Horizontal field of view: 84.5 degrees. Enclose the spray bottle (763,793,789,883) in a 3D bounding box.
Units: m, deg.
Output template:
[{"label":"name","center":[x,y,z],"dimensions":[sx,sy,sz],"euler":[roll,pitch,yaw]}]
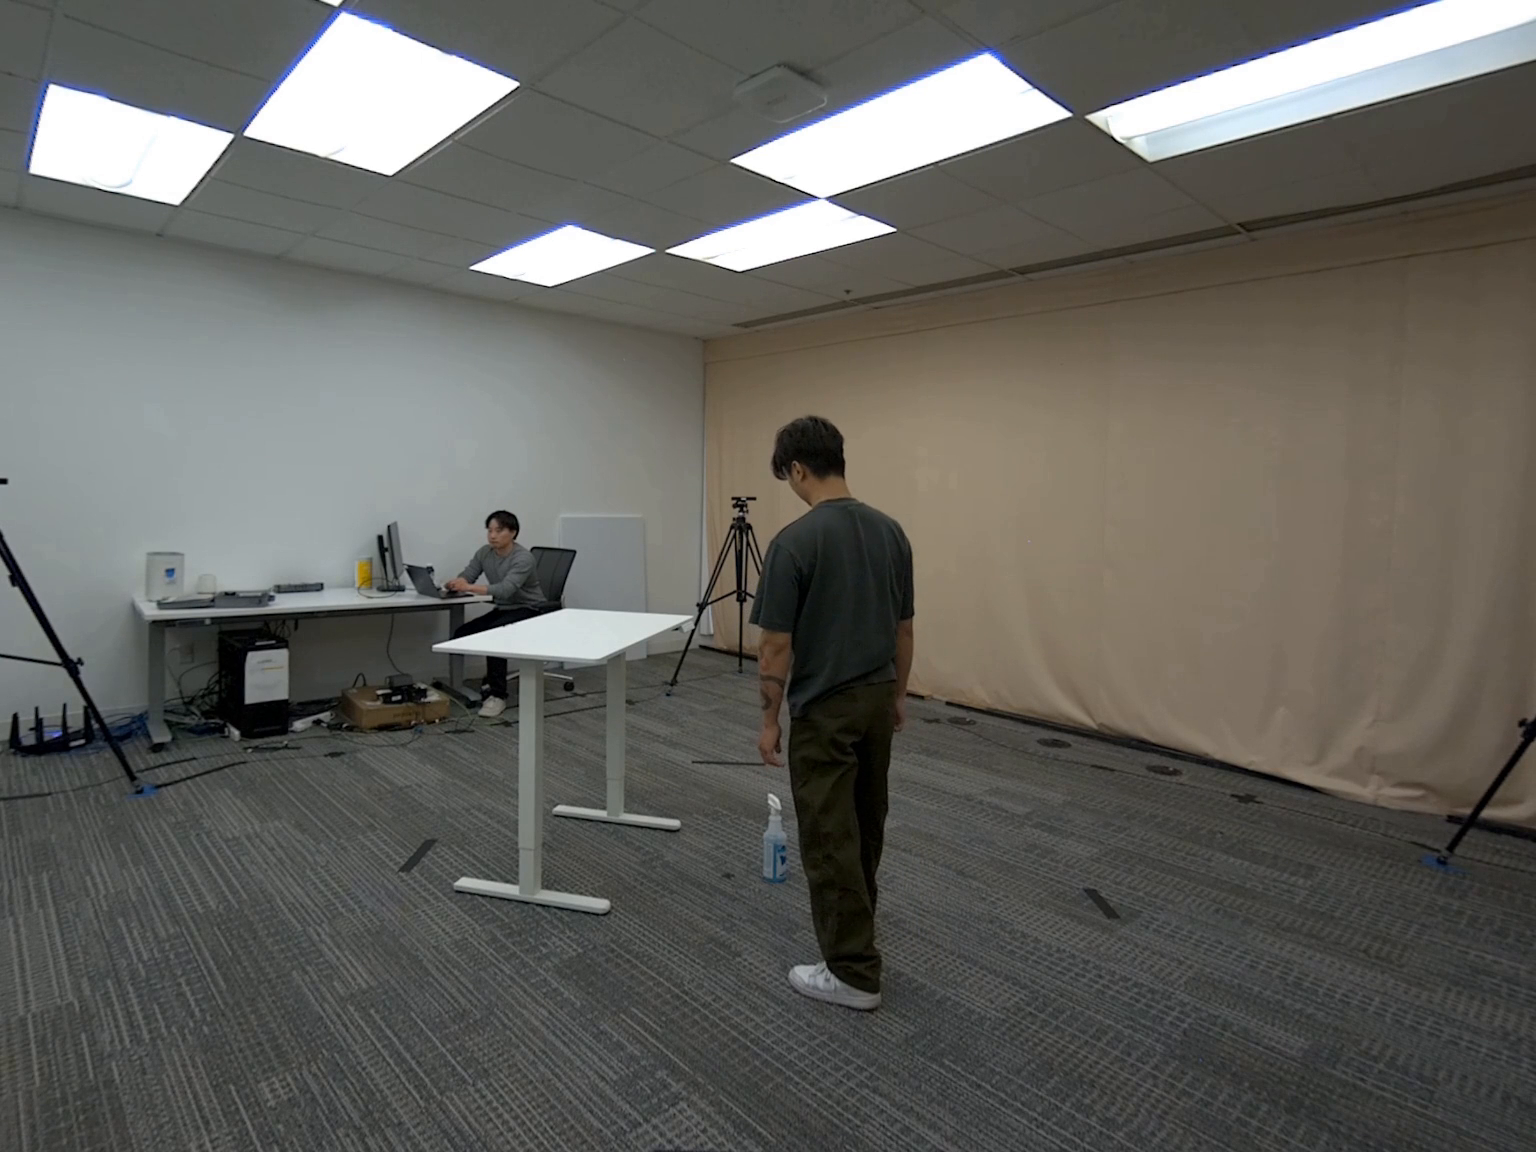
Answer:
[{"label":"spray bottle","center":[0.020,0.967,3.095],"dimensions":[0.087,0.297,0.090],"euler":[0,1,1]}]
